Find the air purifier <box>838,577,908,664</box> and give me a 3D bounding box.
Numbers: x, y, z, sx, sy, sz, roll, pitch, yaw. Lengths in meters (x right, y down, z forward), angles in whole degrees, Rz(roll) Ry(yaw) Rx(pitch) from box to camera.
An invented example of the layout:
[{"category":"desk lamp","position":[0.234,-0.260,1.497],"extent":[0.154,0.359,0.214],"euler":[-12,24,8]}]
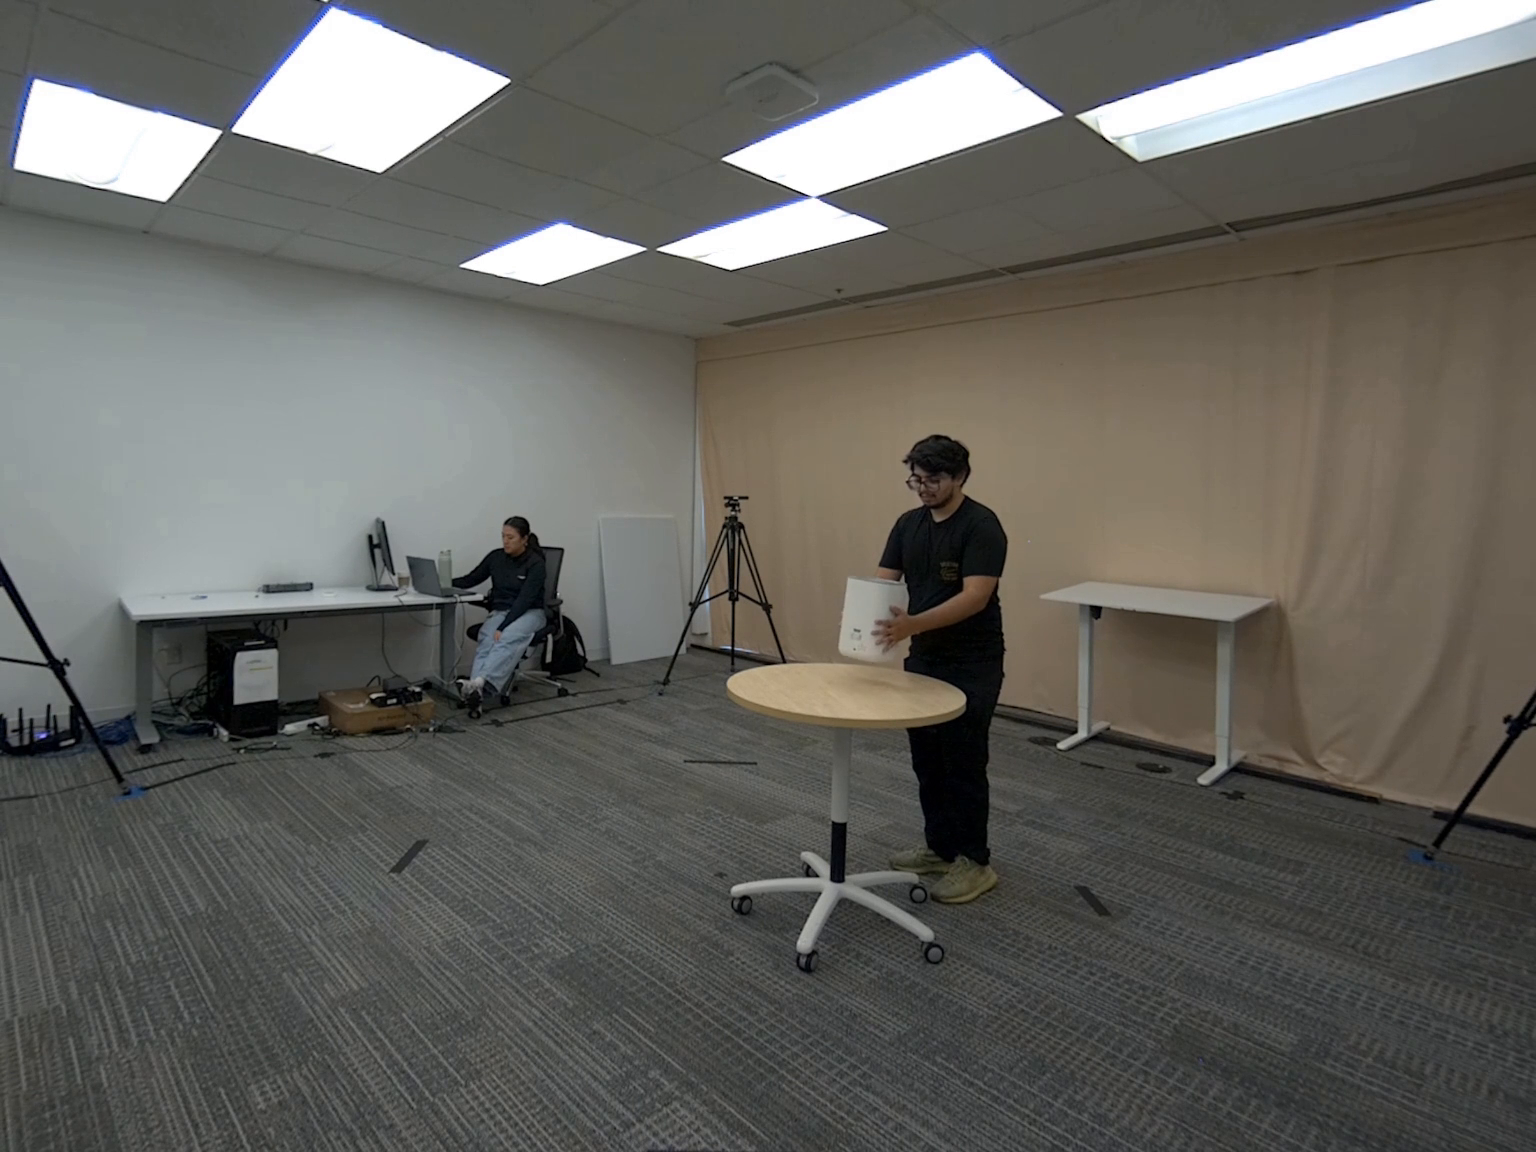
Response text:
[{"category":"air purifier","position":[0.342,0.140,2.800],"extent":[0.172,0.261,0.169],"euler":[9,4,40]}]
